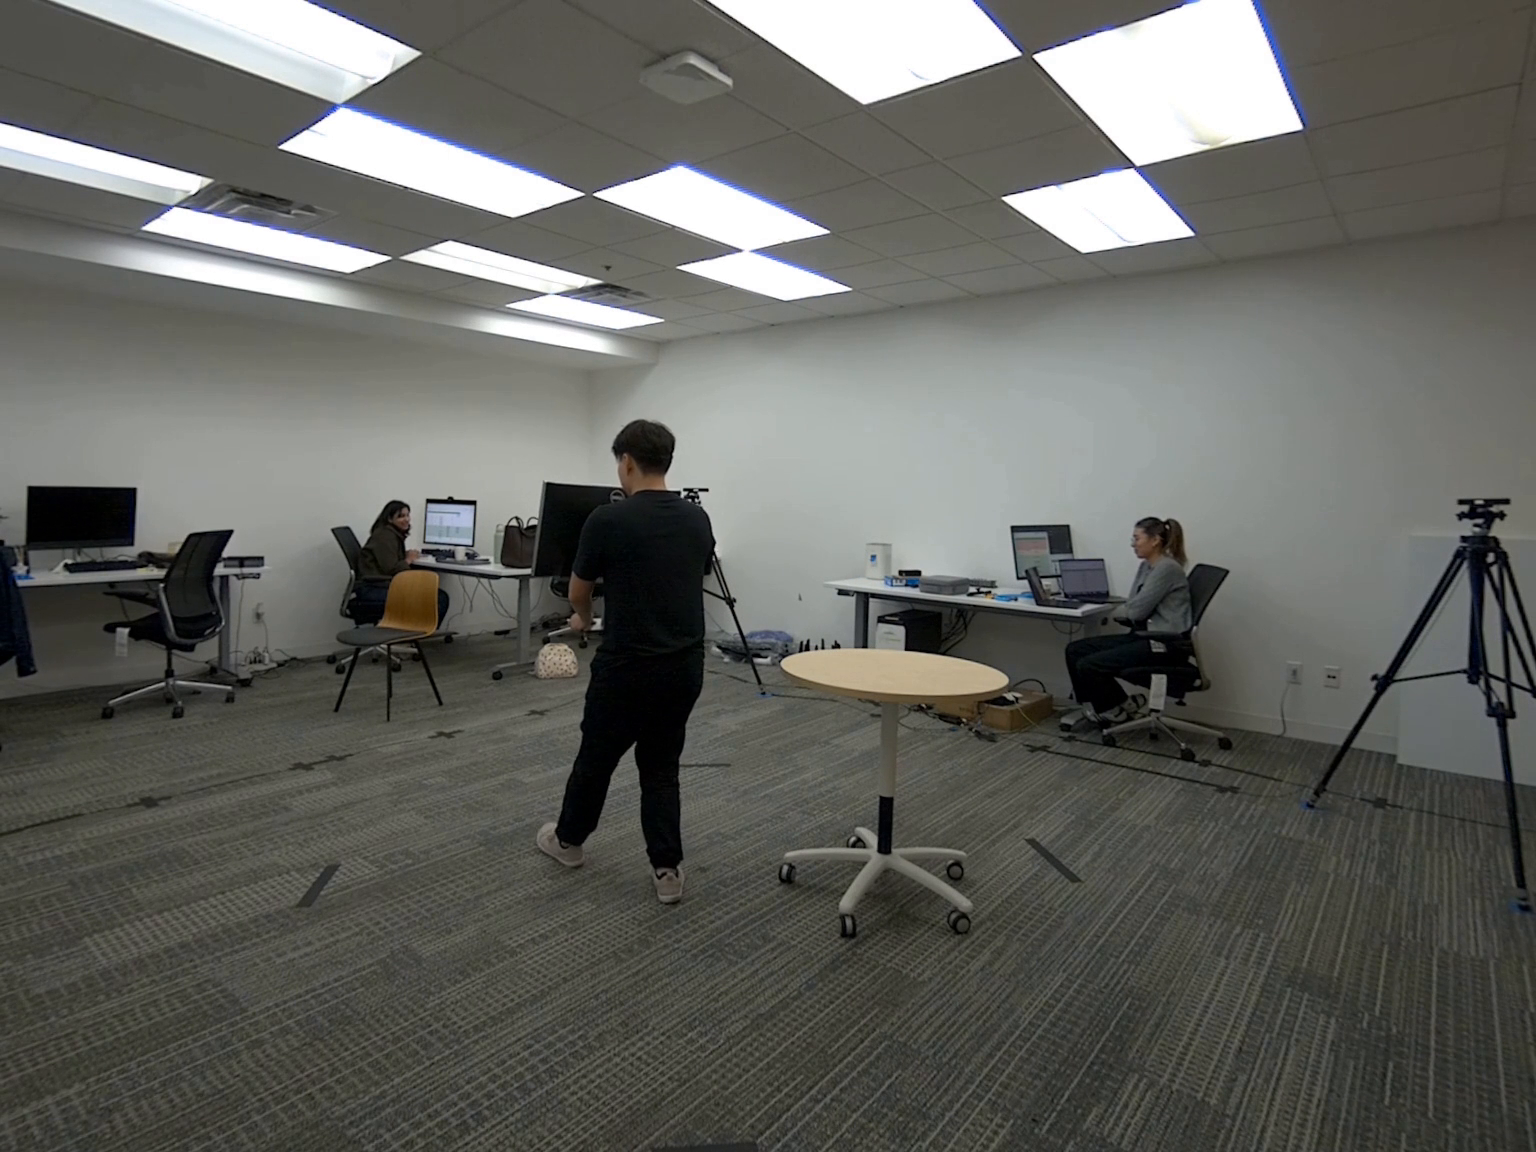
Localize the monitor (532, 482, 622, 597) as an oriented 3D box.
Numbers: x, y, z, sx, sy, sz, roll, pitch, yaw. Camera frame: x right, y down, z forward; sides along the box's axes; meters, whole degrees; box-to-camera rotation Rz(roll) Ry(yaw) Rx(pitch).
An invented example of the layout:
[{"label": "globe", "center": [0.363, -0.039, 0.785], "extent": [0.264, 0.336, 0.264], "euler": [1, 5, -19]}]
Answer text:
[{"label": "monitor", "center": [-0.598, -0.078, 3.209], "extent": [0.523, 0.521, 0.193], "euler": [1, 5, -34]}]
